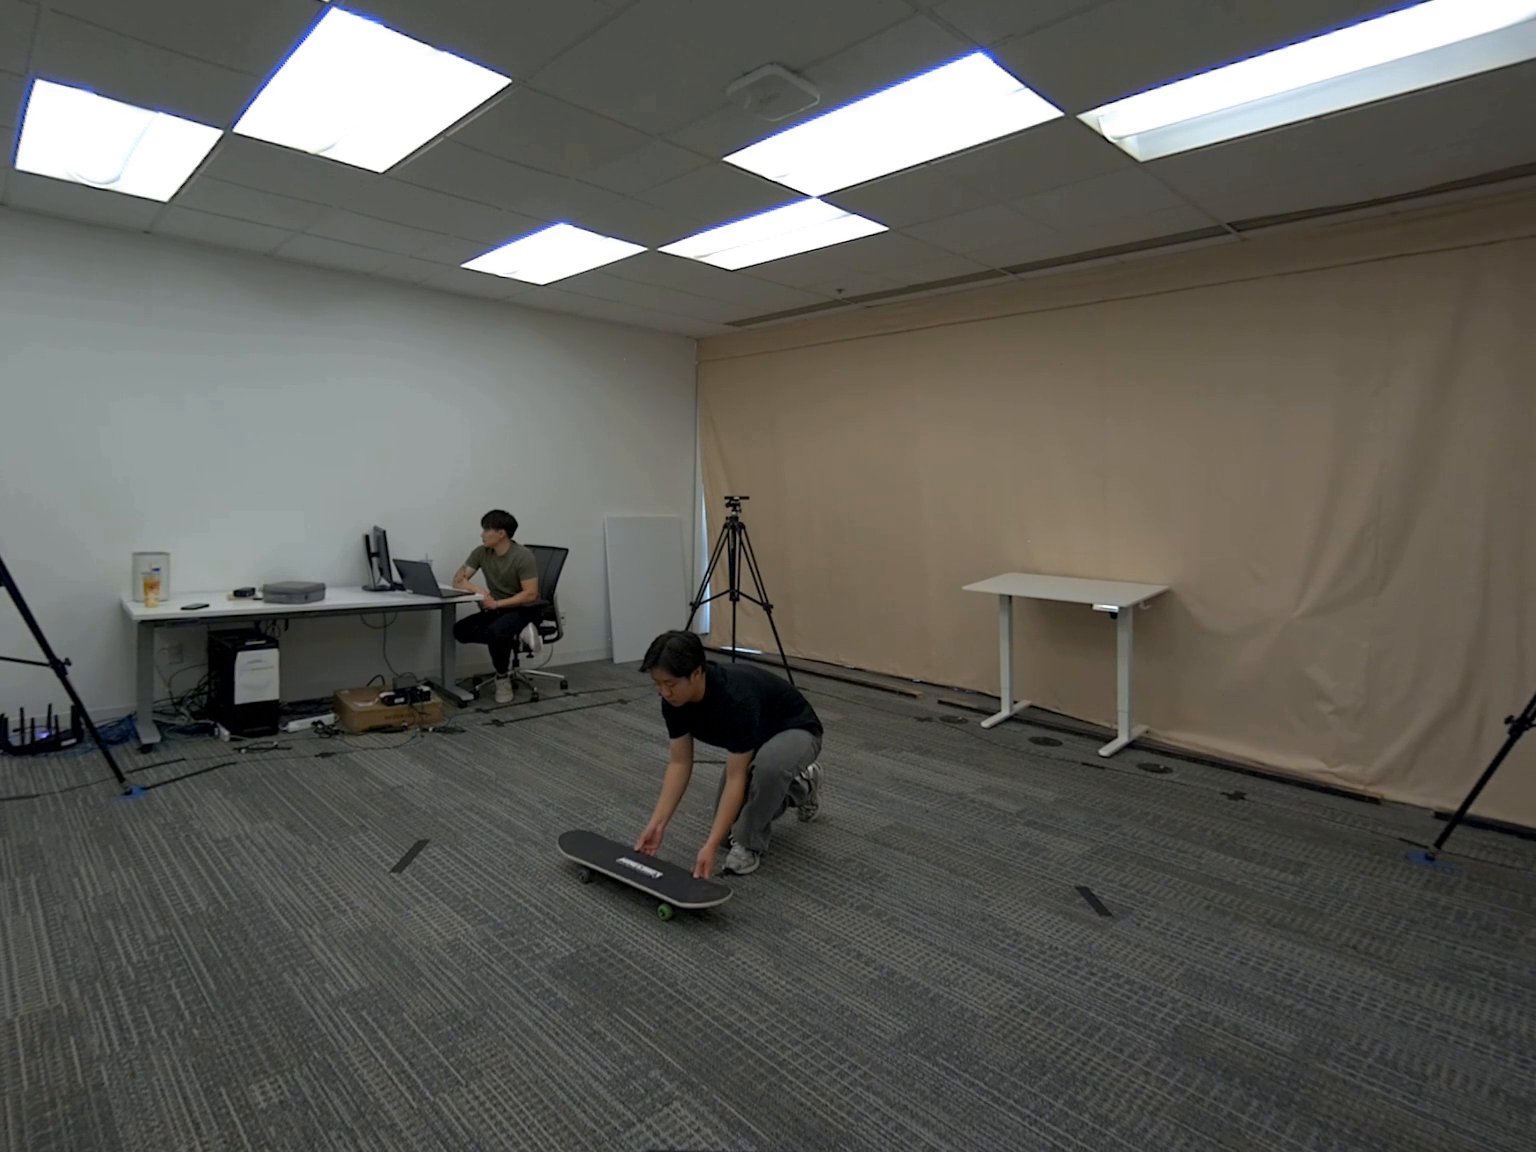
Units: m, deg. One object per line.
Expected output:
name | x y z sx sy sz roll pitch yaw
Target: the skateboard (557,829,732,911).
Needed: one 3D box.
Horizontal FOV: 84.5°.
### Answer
skateboard | -0.449 1.048 2.949 0.805 0.110 0.189 5 7 37
